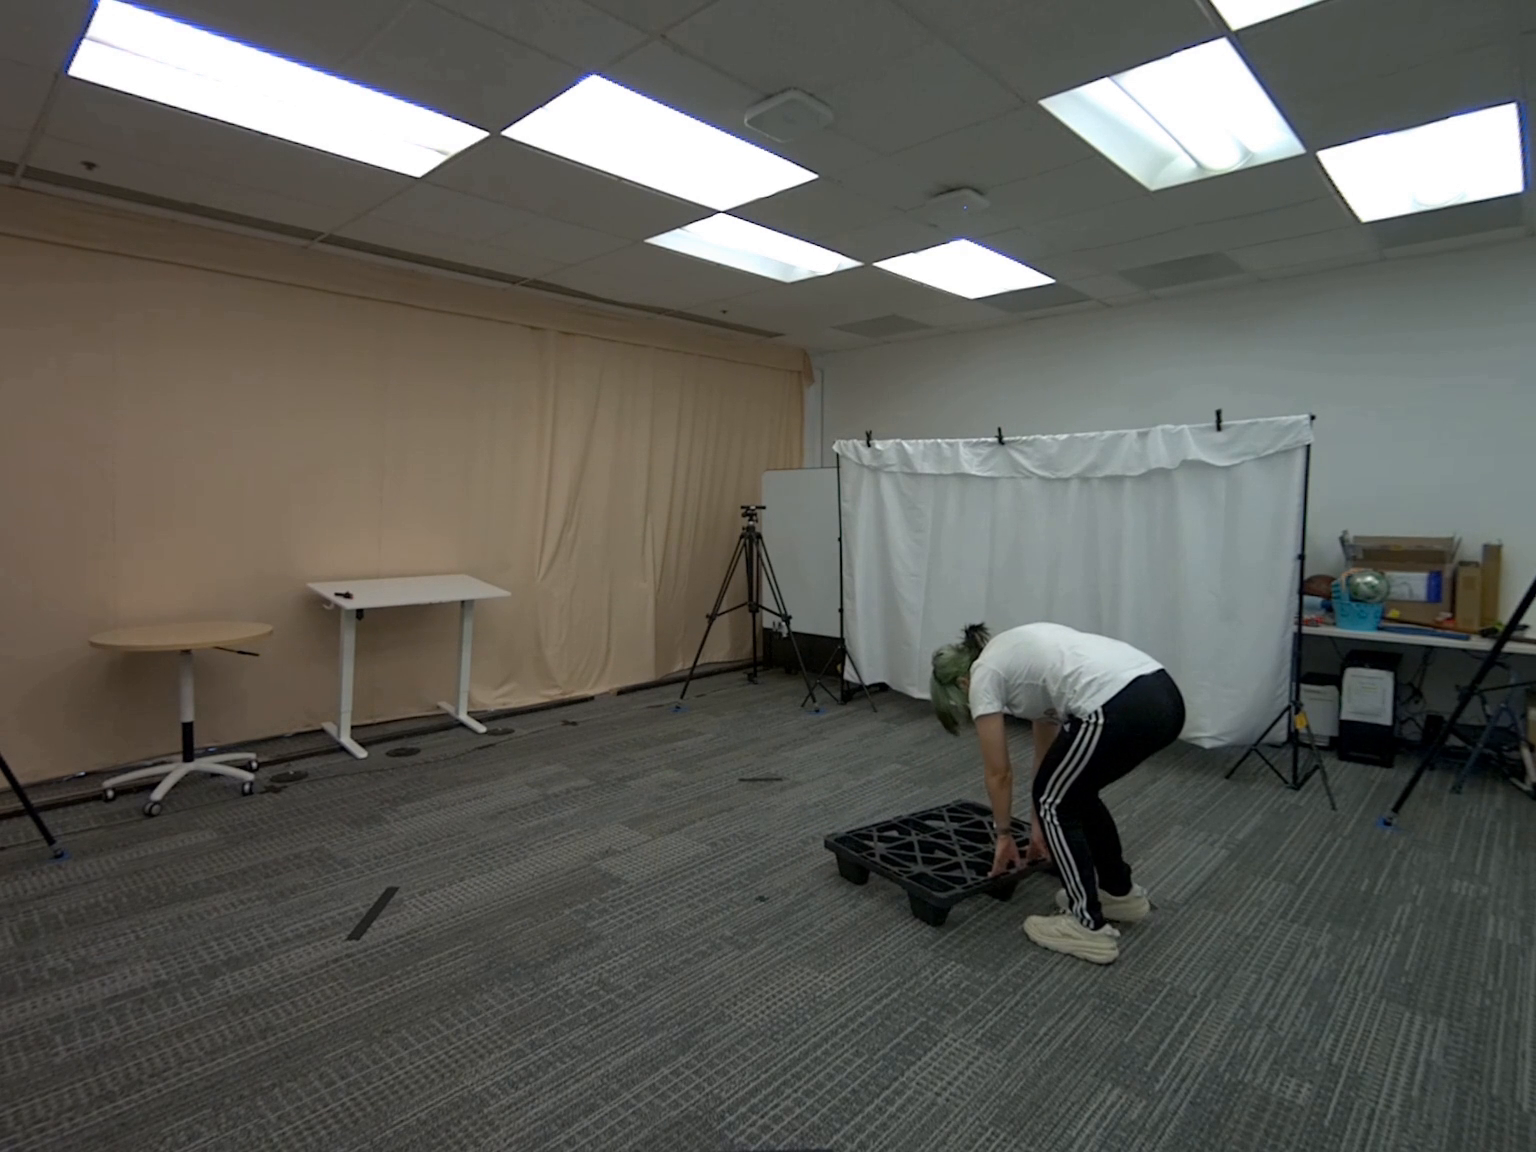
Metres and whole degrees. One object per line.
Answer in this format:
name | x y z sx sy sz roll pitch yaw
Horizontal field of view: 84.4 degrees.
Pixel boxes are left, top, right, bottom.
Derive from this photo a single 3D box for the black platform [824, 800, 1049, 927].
black platform | 0.709 1.059 3.160 0.782 0.143 0.624 -3 6 -35
